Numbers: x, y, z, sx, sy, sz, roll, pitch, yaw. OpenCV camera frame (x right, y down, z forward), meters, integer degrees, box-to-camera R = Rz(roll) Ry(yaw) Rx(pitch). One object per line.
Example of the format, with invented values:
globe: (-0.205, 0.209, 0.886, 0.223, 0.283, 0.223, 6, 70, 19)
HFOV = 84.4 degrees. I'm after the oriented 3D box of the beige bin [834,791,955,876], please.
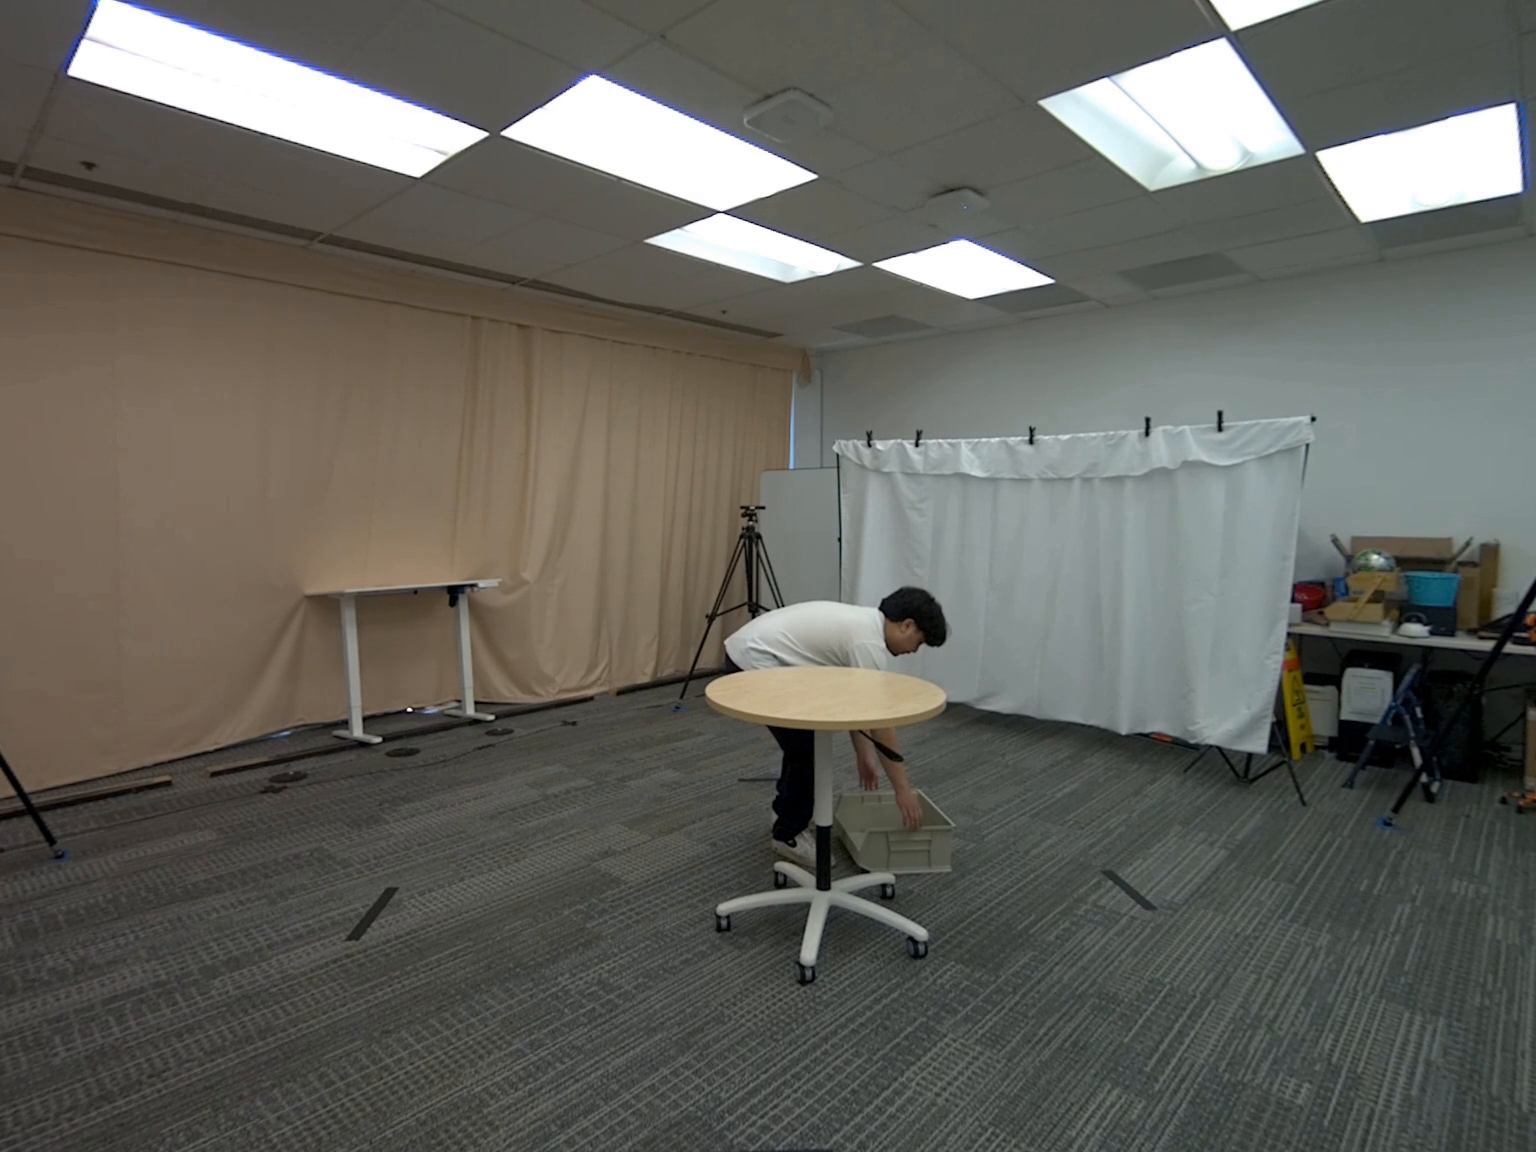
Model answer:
beige bin: (0.489, 1.015, 3.381, 0.375, 0.188, 0.426, 0, 4, -7)
